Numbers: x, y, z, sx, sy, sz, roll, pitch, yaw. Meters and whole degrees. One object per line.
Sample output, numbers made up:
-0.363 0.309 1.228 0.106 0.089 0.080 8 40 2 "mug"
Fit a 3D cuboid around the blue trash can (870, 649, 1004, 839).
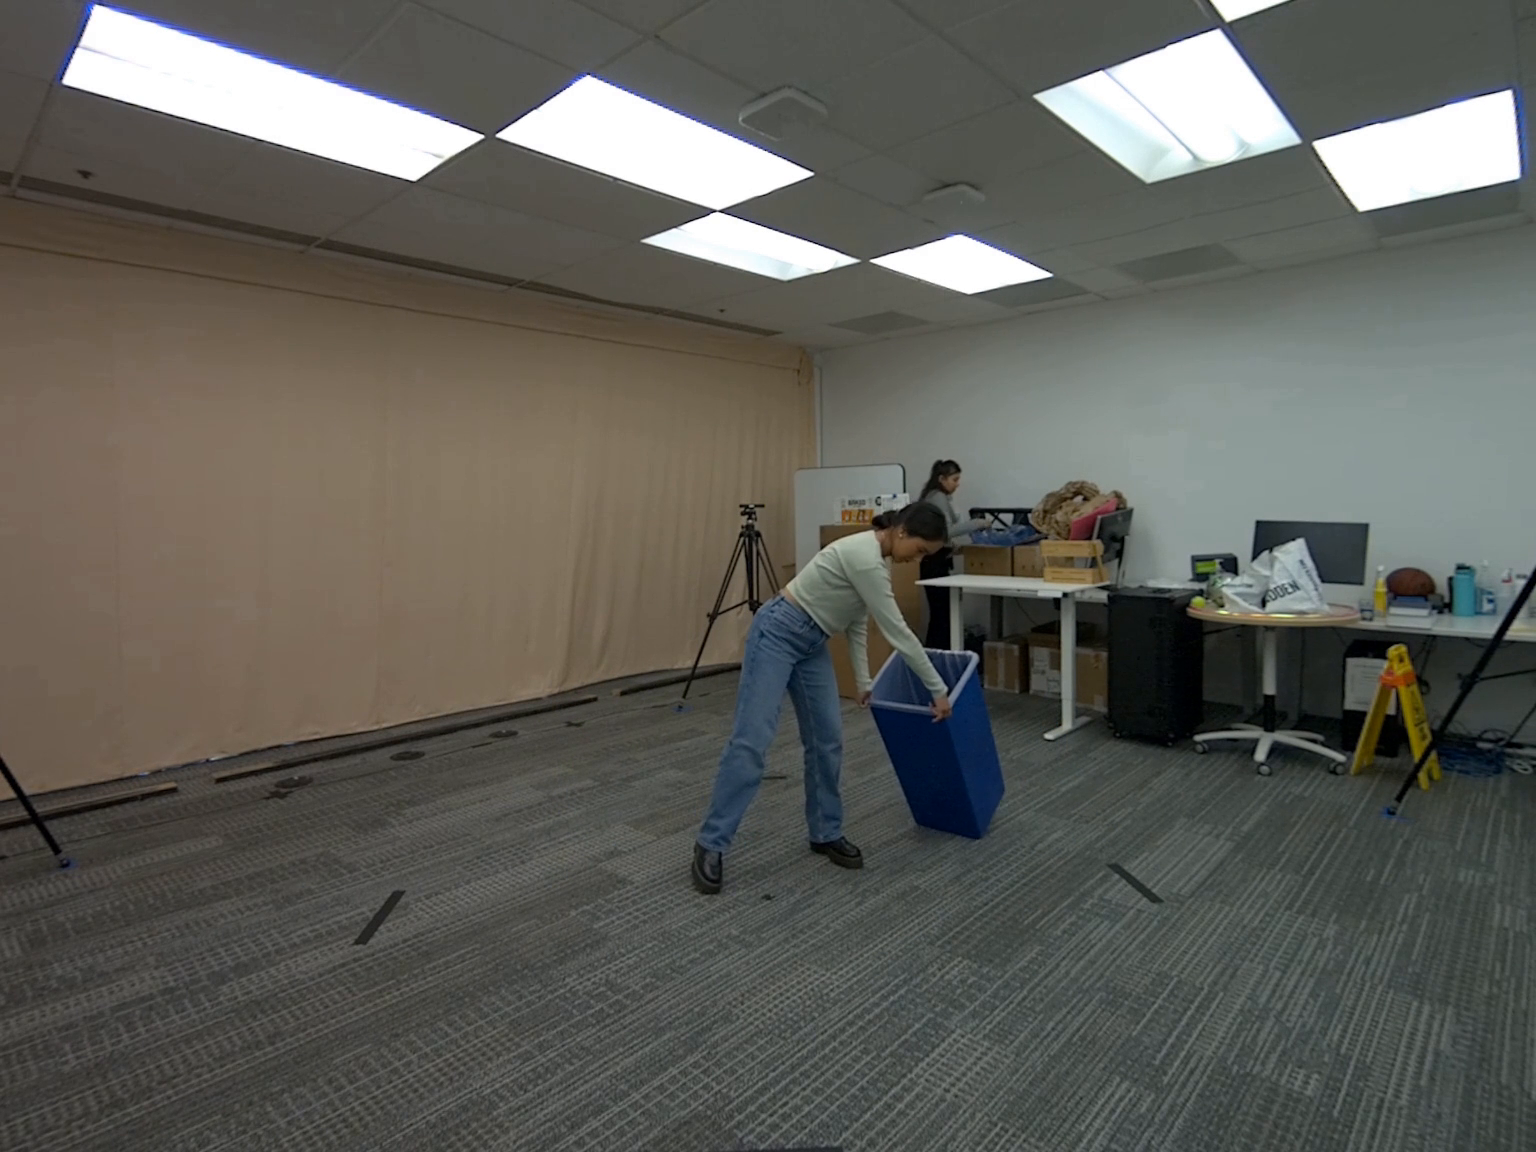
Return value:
0.721 0.704 3.488 0.390 0.699 0.370 0 31 40 "blue trash can"
